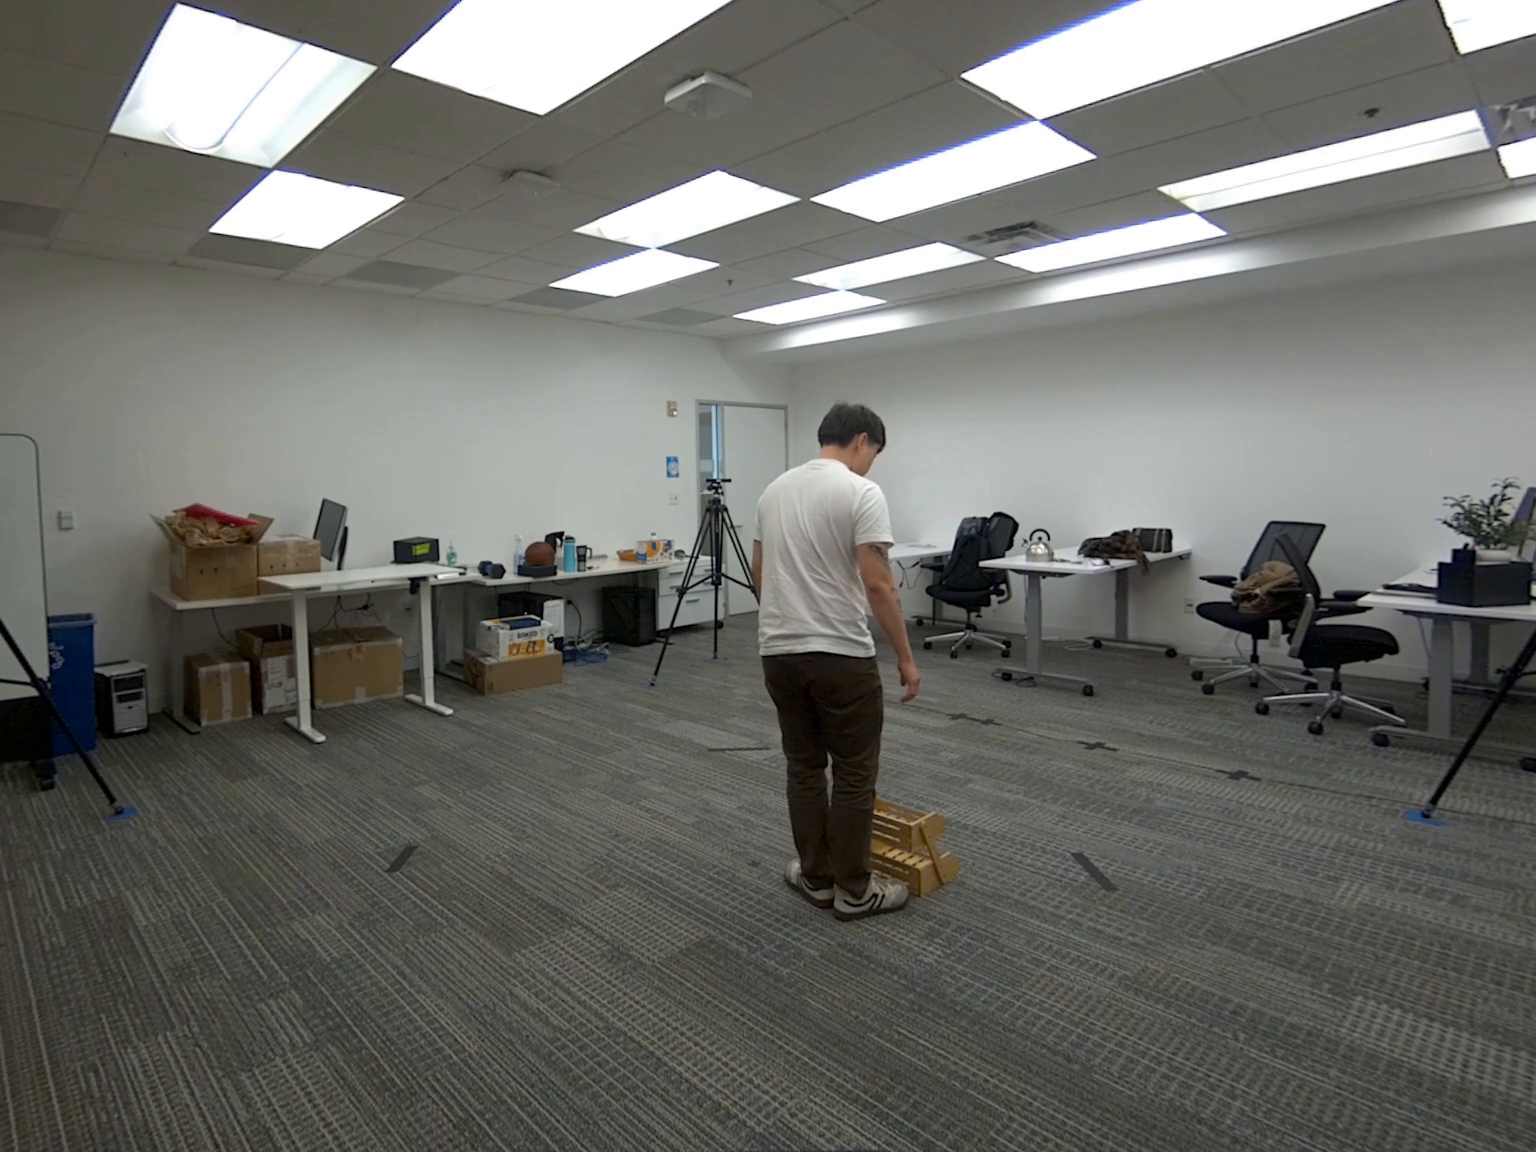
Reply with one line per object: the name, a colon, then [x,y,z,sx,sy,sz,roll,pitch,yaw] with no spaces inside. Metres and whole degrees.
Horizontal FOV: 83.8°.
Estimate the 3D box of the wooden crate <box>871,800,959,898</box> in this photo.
wooden crate: [0.469,0.915,3.004,0.334,0.272,0.294,4,8,44]
